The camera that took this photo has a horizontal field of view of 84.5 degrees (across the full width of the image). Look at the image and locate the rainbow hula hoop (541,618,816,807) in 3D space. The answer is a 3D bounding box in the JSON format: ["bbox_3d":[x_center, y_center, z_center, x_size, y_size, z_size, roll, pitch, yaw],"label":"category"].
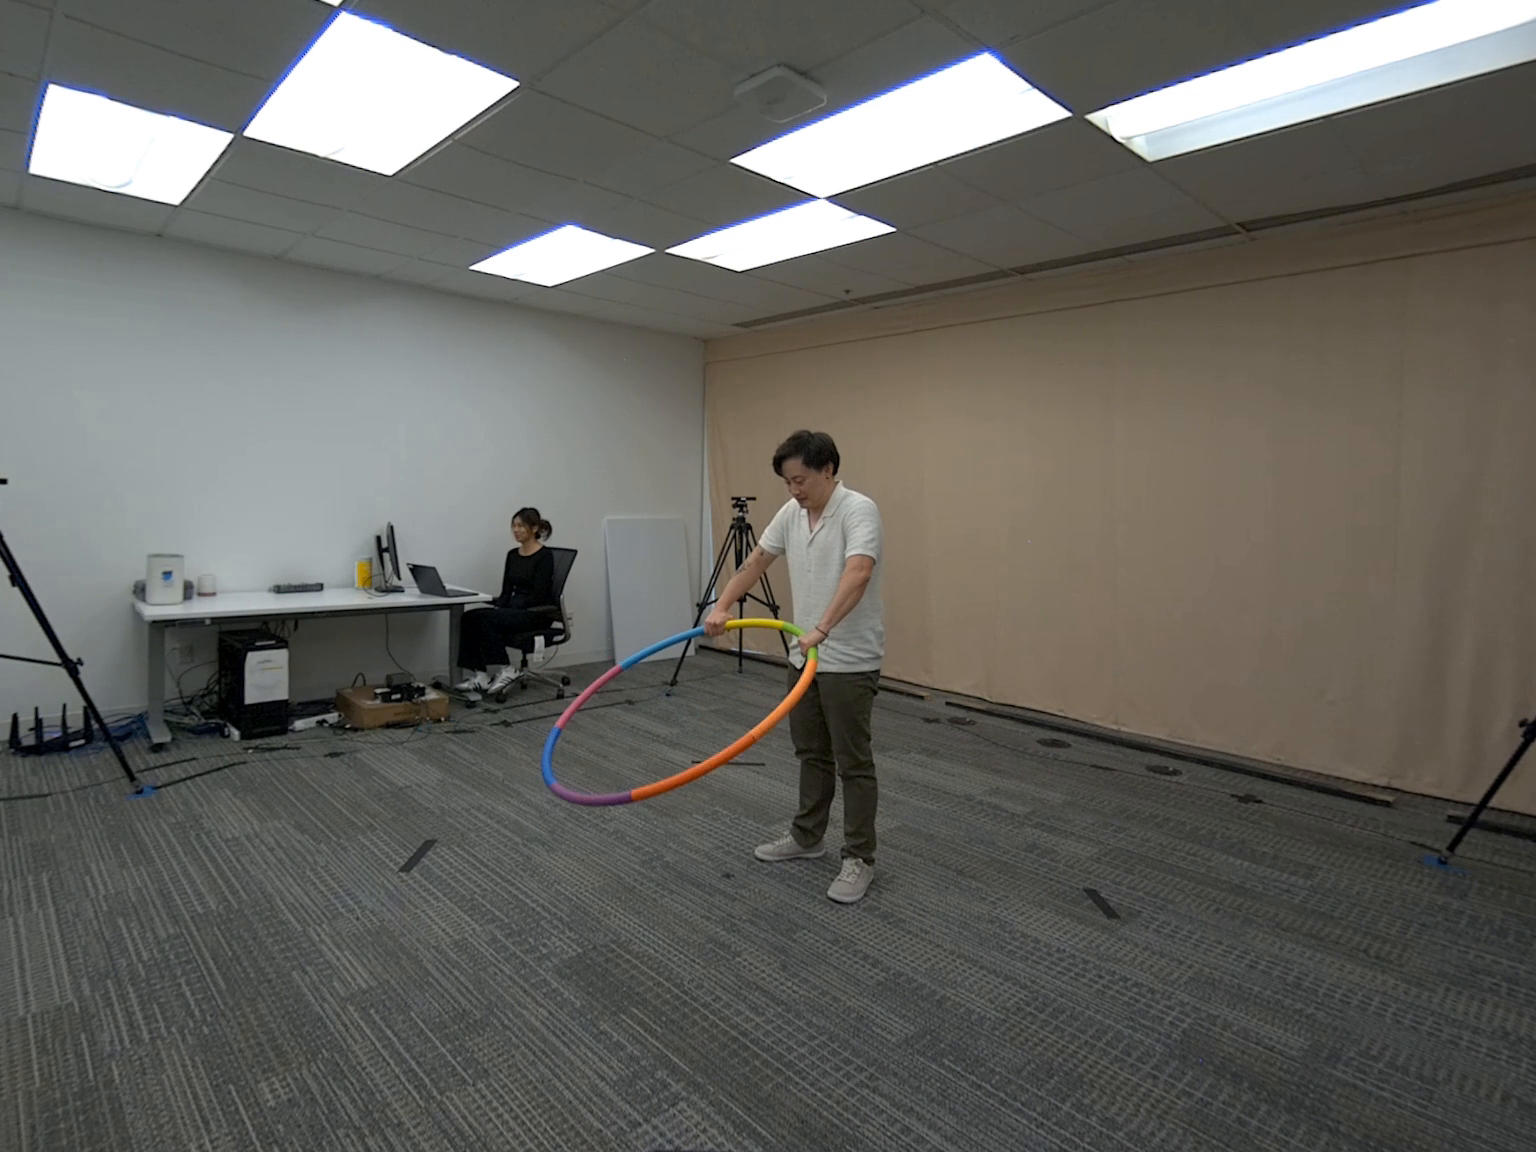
[{"bbox_3d":[-0.313,0.417,2.754,0.981,0.035,0.993,-22,20,6],"label":"rainbow hula hoop"}]
